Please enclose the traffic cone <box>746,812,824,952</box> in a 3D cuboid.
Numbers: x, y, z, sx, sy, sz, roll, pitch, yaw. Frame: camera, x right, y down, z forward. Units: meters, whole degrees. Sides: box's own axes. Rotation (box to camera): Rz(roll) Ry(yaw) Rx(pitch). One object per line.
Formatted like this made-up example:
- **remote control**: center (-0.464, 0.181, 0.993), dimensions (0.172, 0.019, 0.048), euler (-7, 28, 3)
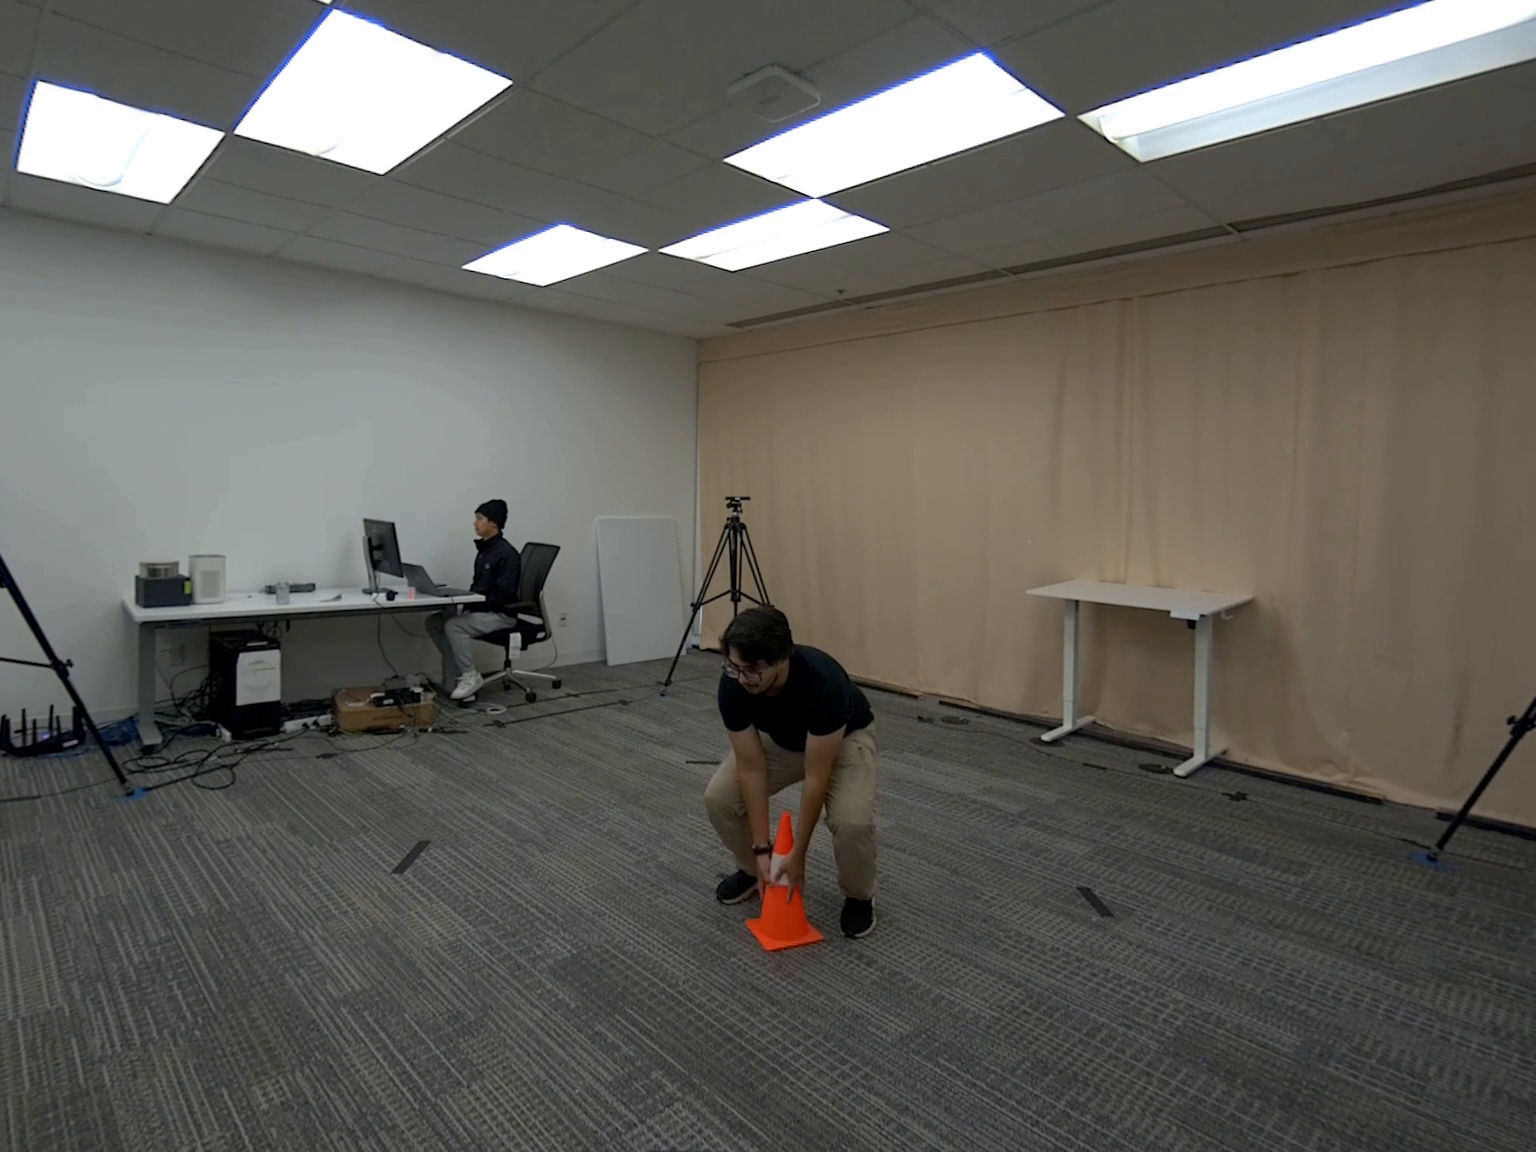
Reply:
- **traffic cone**: center (0.044, 0.945, 2.706), dimensions (0.201, 0.384, 0.207), euler (2, 0, -24)
